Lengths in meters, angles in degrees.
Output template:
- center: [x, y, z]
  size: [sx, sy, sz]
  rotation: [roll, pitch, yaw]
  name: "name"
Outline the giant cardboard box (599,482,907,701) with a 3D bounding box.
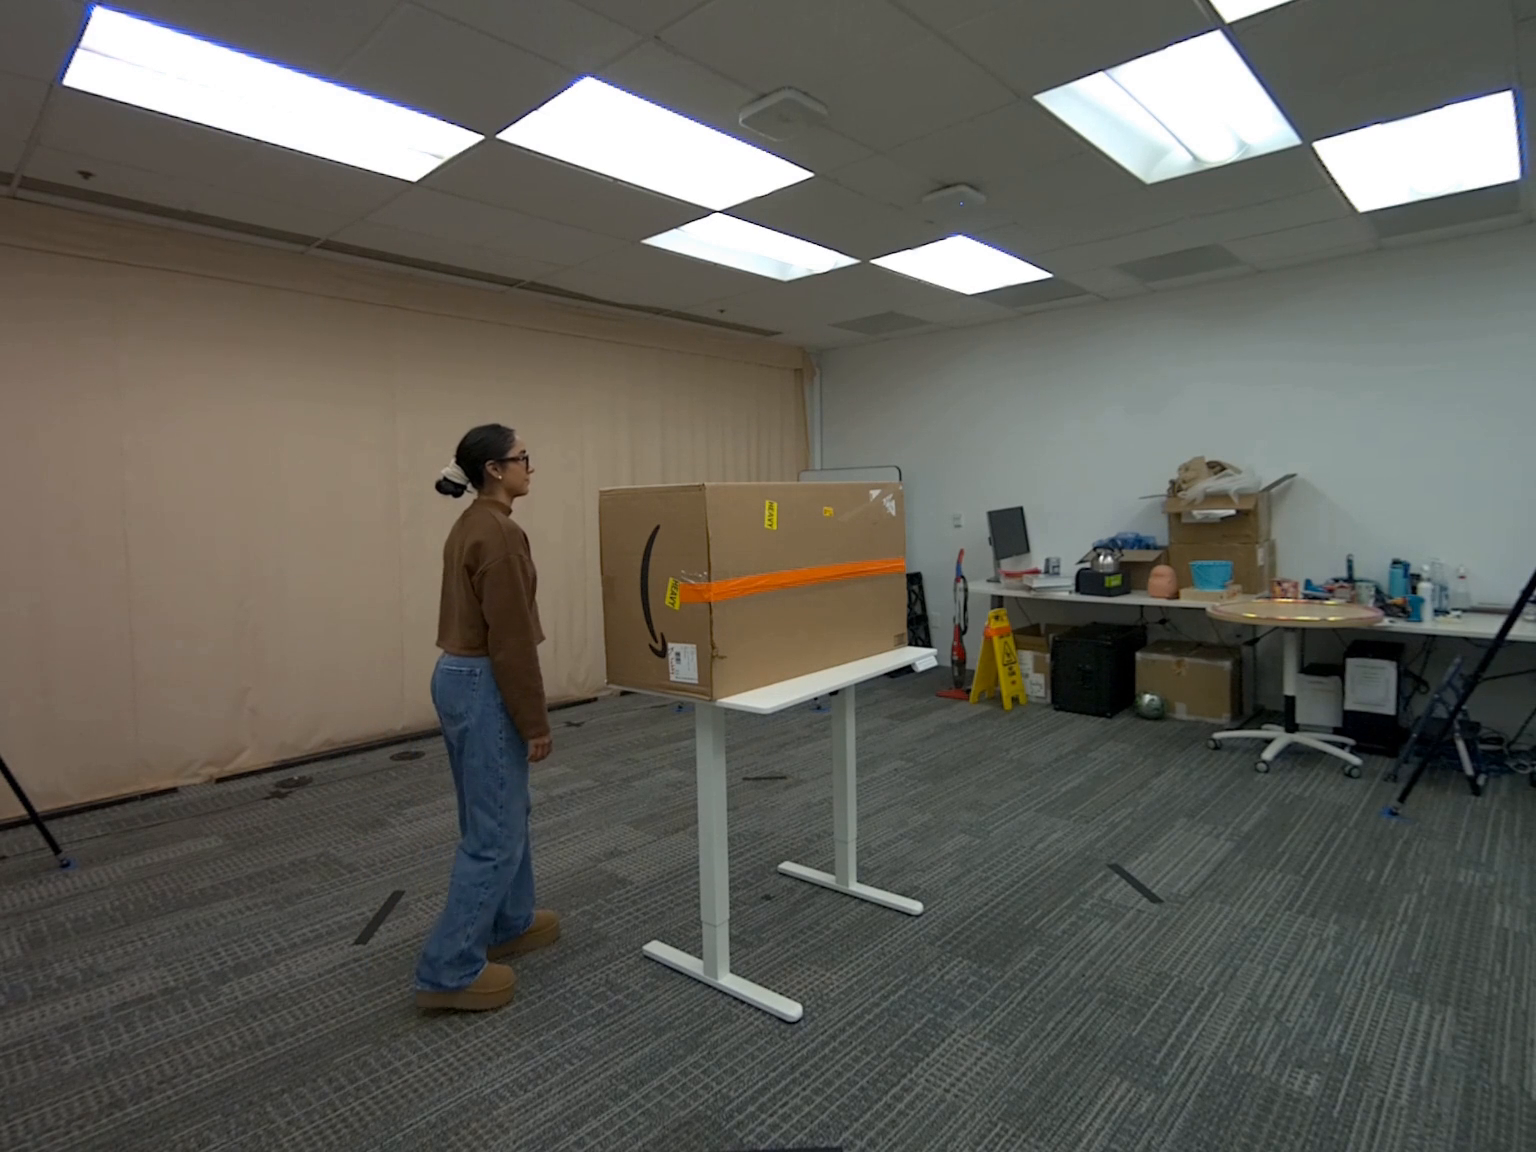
- center: [0.004, -0.001, 2.698]
  size: [0.440, 0.576, 0.996]
  rotation: [1, 5, 40]
  name: "giant cardboard box"
